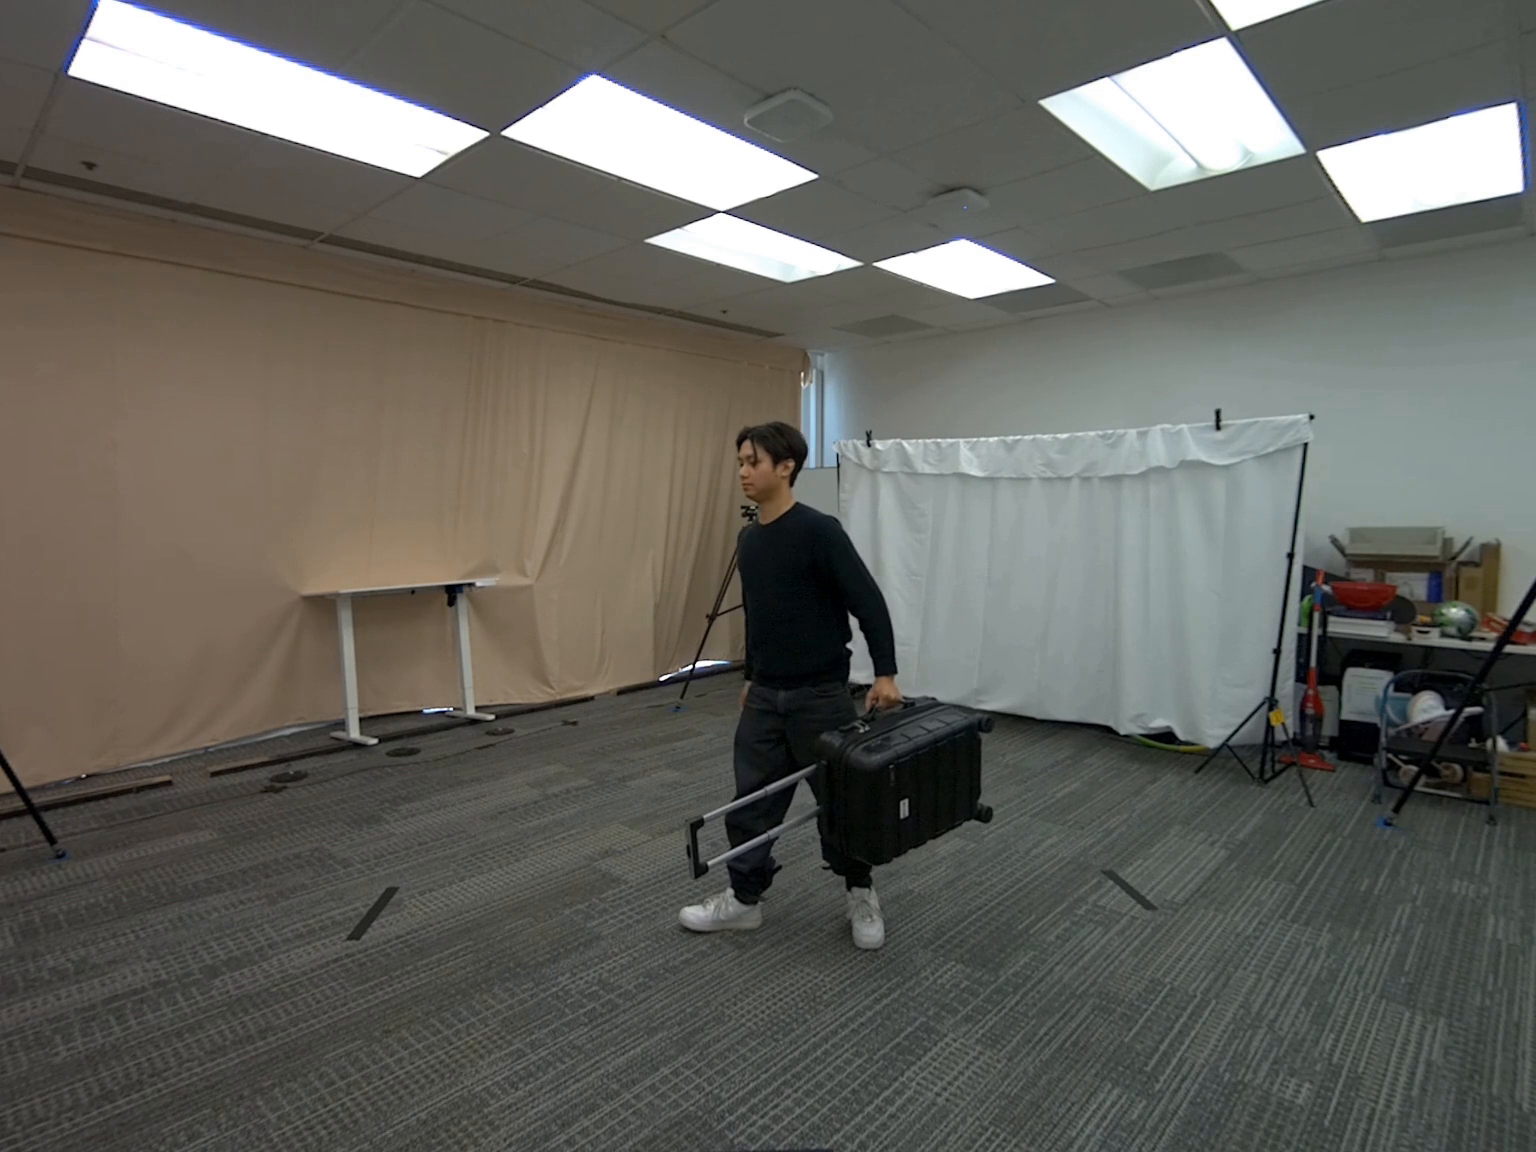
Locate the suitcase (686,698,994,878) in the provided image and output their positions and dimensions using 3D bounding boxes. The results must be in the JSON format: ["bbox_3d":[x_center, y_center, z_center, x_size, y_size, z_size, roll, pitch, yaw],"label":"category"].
[{"bbox_3d":[0.243,0.630,2.375,0.952,0.381,0.266,-12,15,-37],"label":"suitcase"}]
